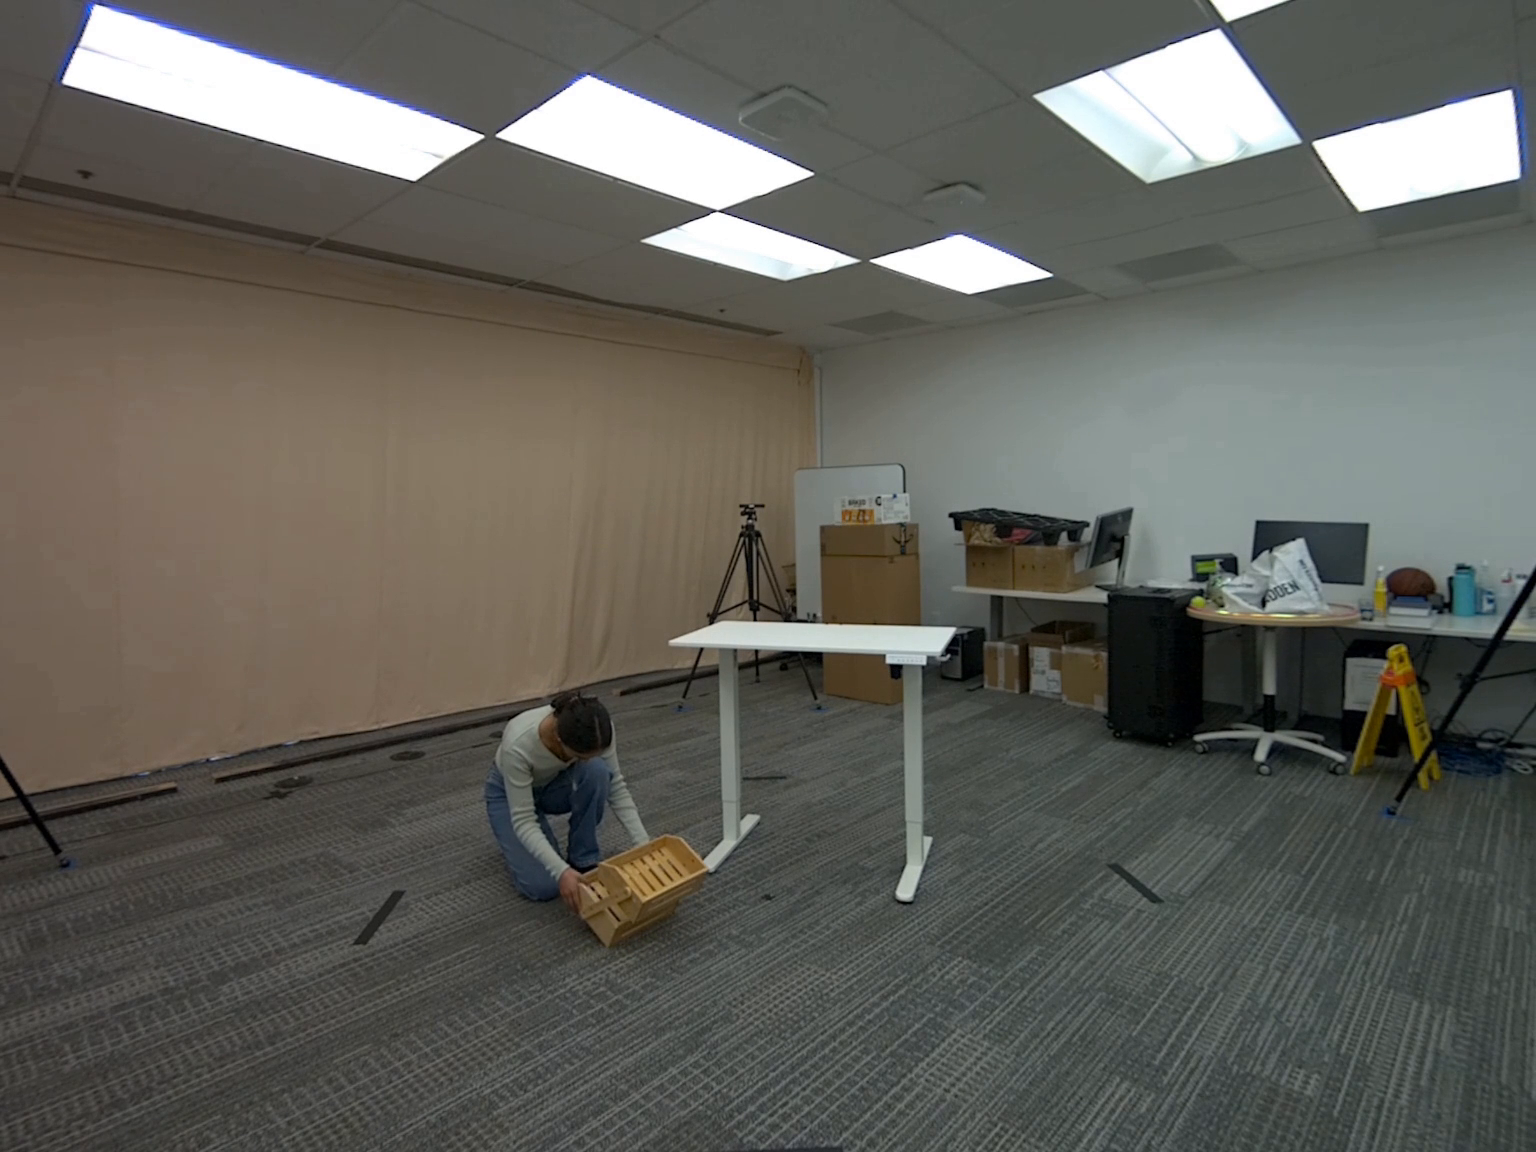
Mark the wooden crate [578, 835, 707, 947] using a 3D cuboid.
[{"bbox_3d":[-0.433,1.005,2.776,0.312,0.272,0.315,36,26,32],"label":"wooden crate"}]
